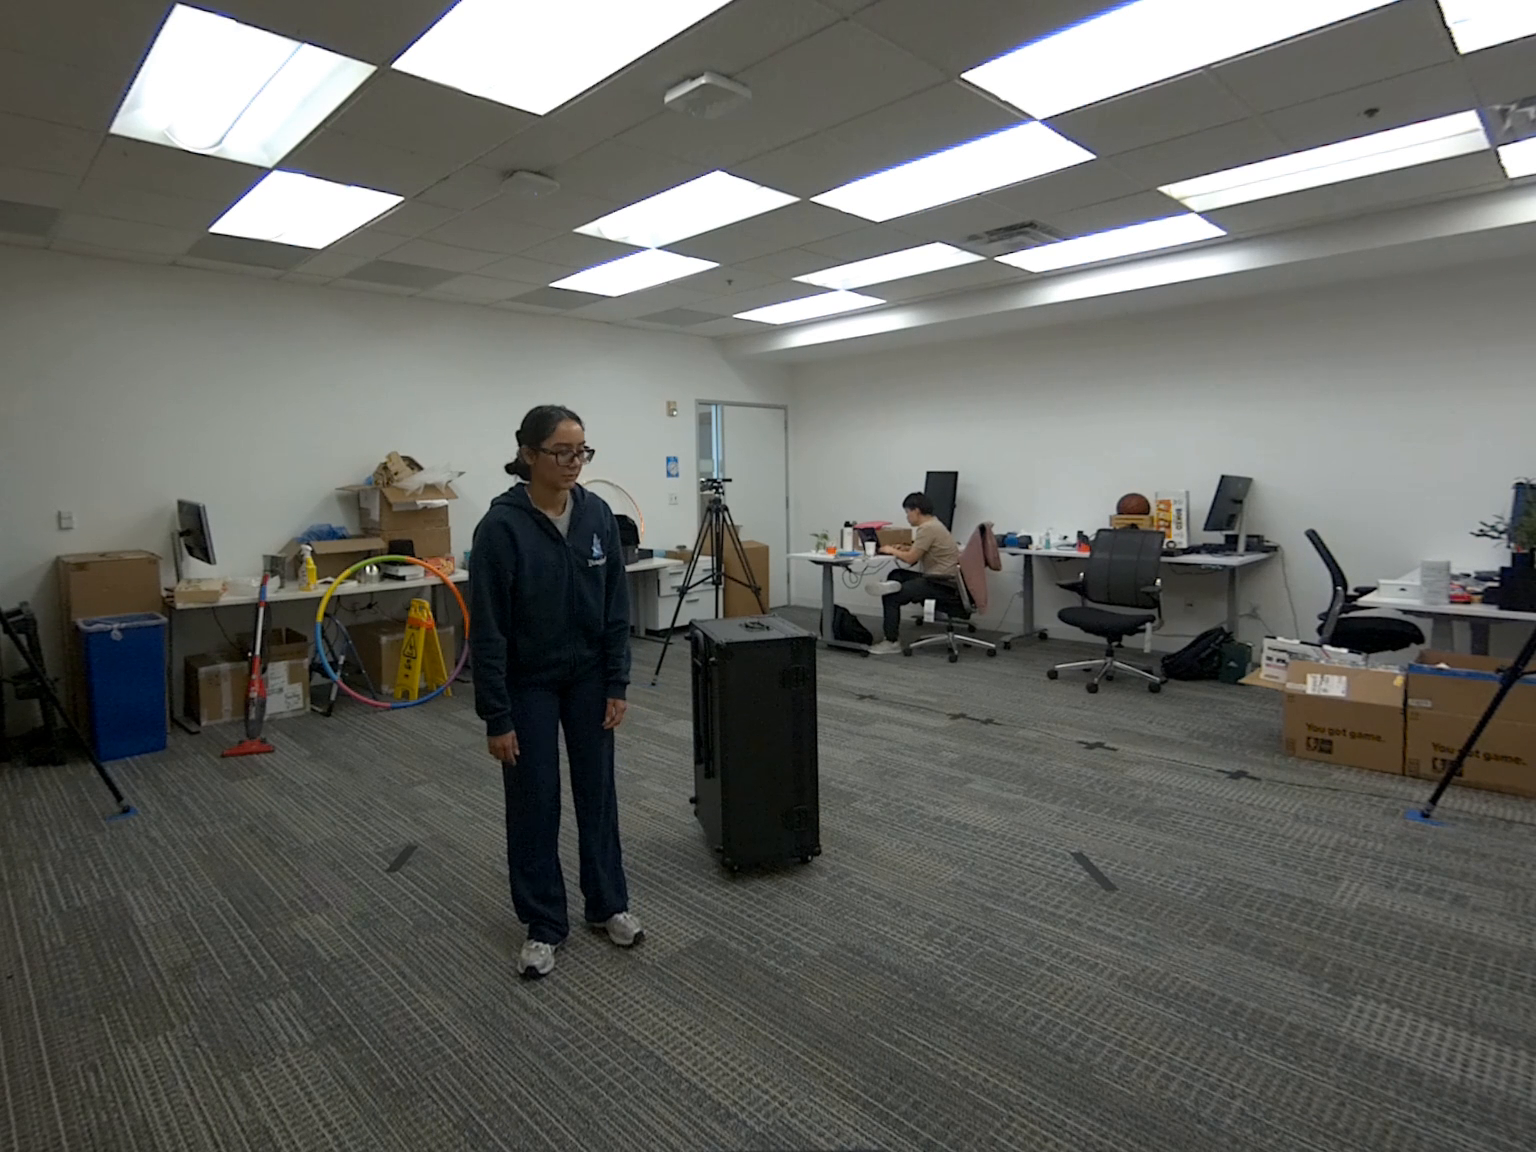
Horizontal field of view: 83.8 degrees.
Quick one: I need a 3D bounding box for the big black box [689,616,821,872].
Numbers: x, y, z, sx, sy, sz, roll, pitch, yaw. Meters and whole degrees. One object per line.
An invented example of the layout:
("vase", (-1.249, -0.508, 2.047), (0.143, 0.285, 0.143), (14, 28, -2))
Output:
("big black box", (-0.067, 0.614, 3.164), (0.391, 0.858, 0.530), (-3, 5, -15))
